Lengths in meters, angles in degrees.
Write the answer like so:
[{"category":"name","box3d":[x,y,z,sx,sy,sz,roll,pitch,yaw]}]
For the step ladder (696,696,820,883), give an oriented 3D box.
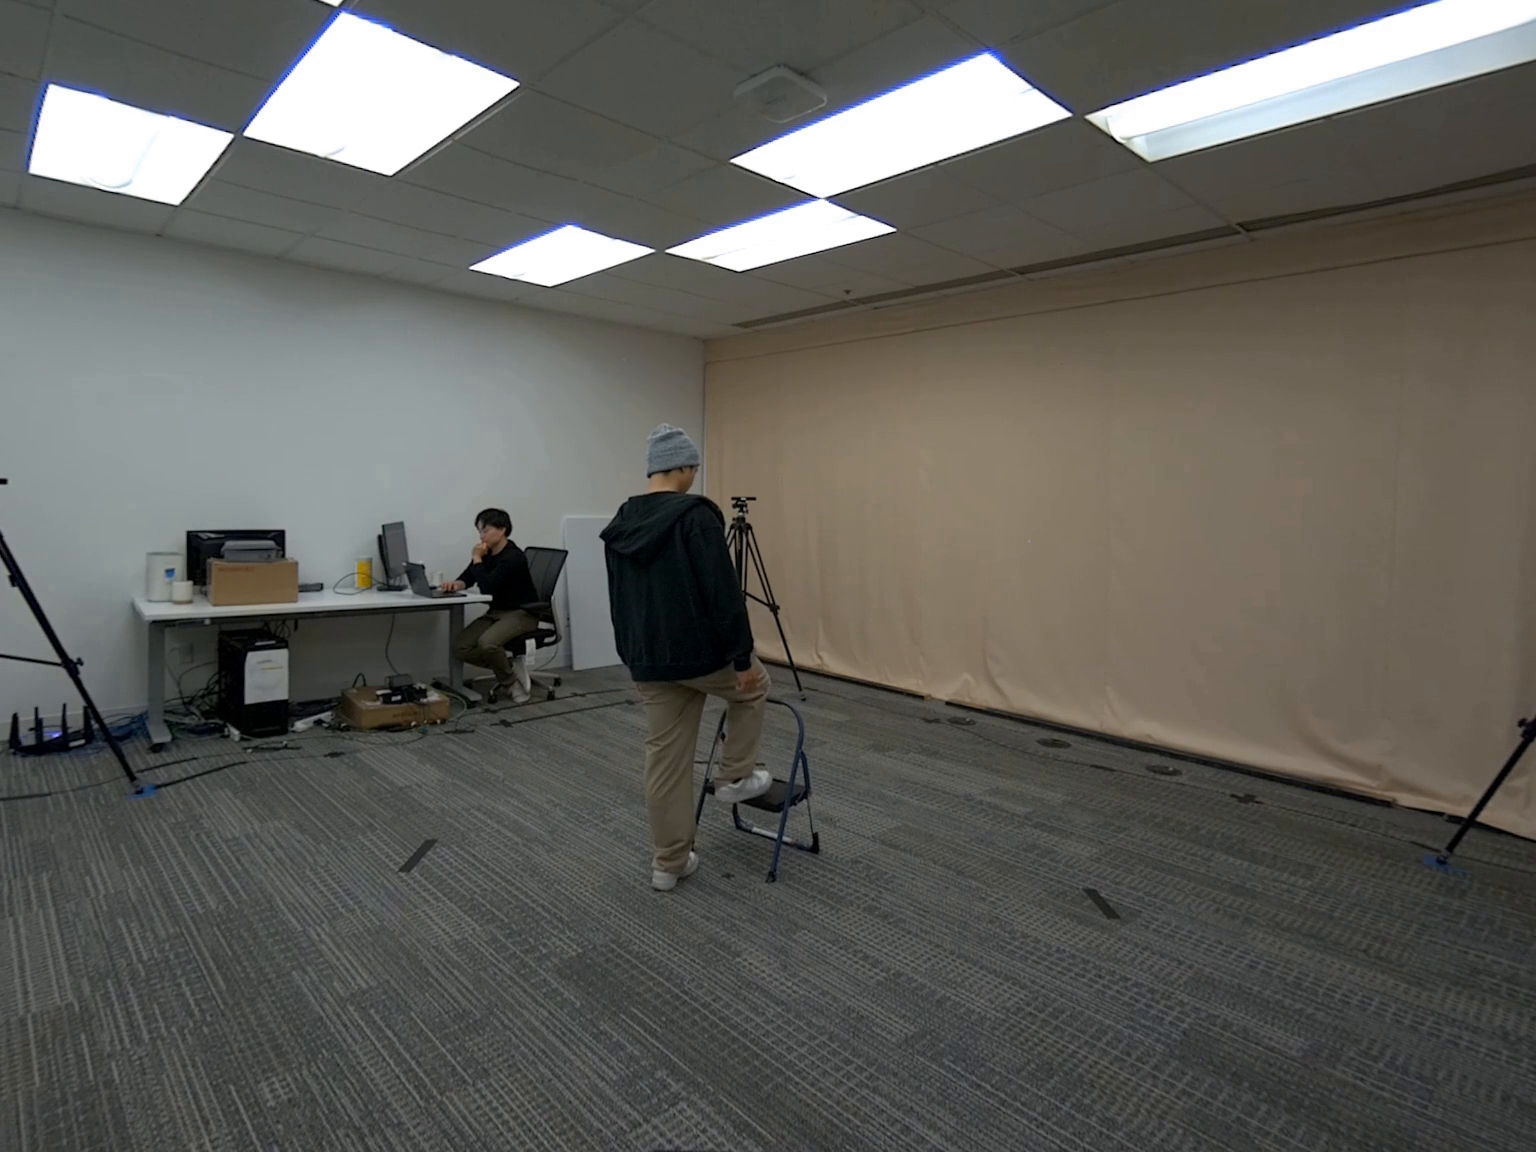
[{"category":"step ladder","box3d":[-0.055,0.788,3.307,0.441,0.605,0.341,4,4,36]}]
